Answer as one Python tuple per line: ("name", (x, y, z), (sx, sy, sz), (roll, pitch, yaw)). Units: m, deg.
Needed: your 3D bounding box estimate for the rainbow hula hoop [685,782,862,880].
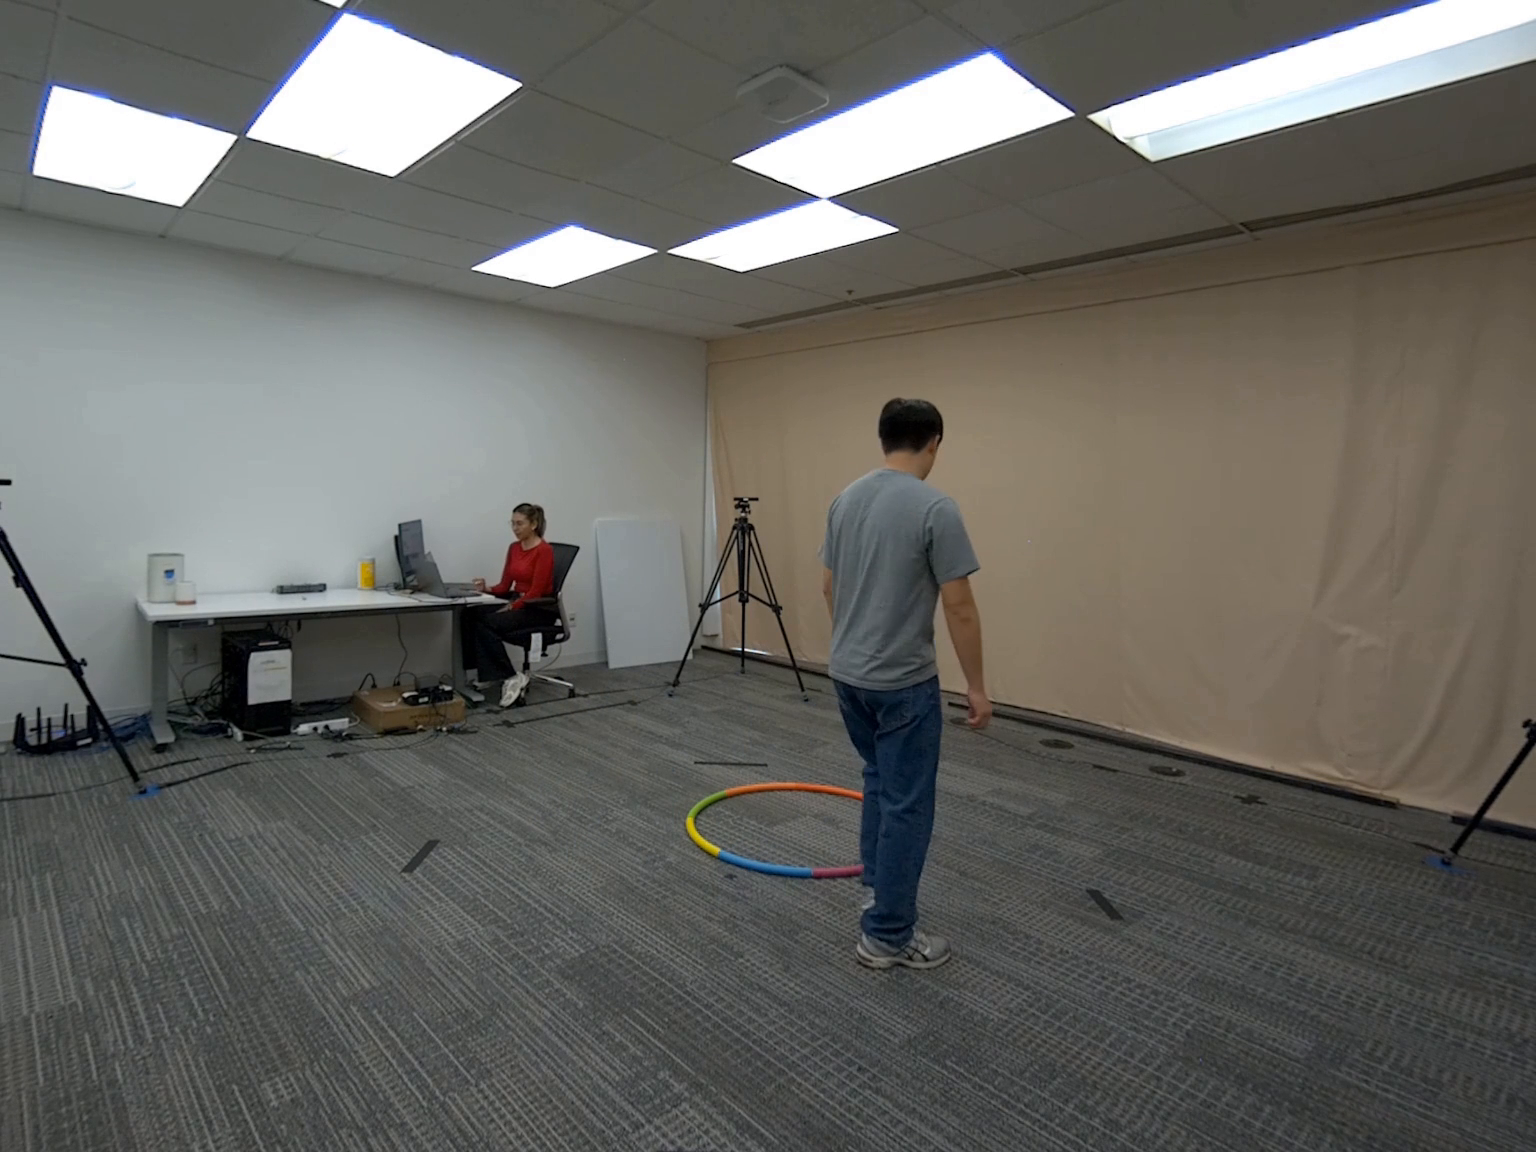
("rainbow hula hoop", (0.128, 1.041, 3.587), (0.978, 0.035, 0.982), (2, 5, -1))
